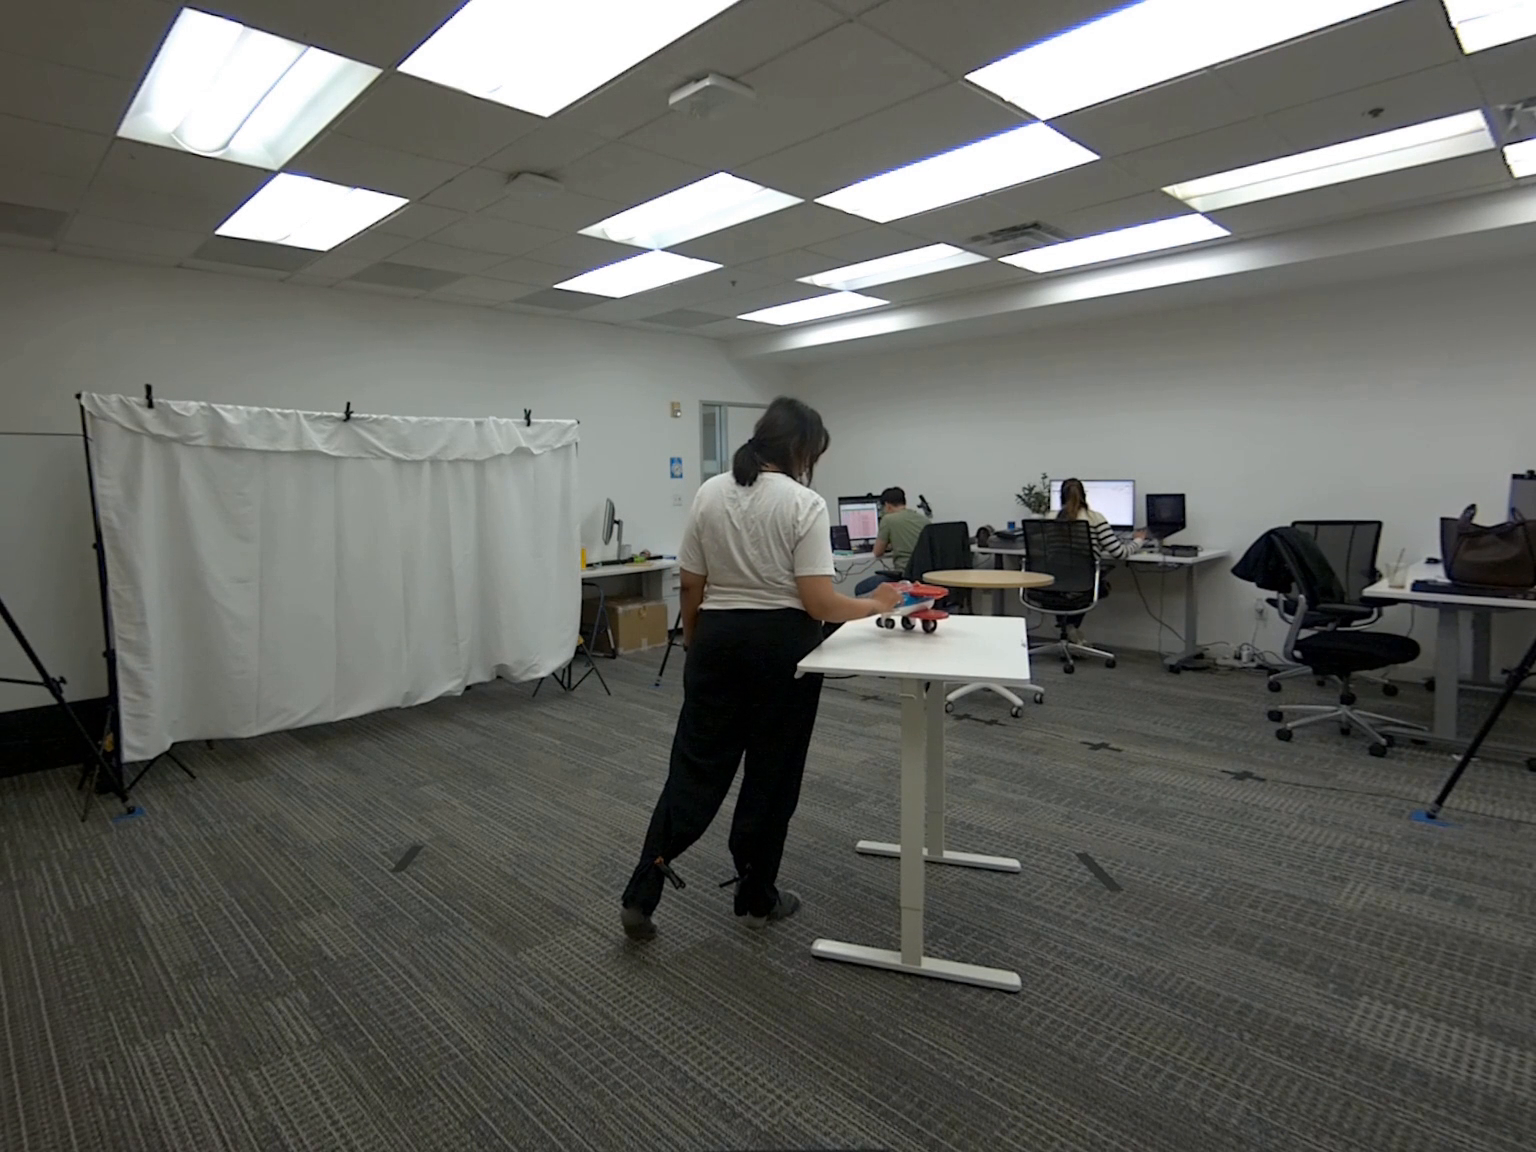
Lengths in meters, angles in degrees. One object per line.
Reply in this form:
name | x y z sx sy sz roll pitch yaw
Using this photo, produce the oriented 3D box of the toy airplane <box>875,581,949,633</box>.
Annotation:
toy airplane | 0.469 0.104 2.791 0.256 0.157 0.254 7 -2 17
